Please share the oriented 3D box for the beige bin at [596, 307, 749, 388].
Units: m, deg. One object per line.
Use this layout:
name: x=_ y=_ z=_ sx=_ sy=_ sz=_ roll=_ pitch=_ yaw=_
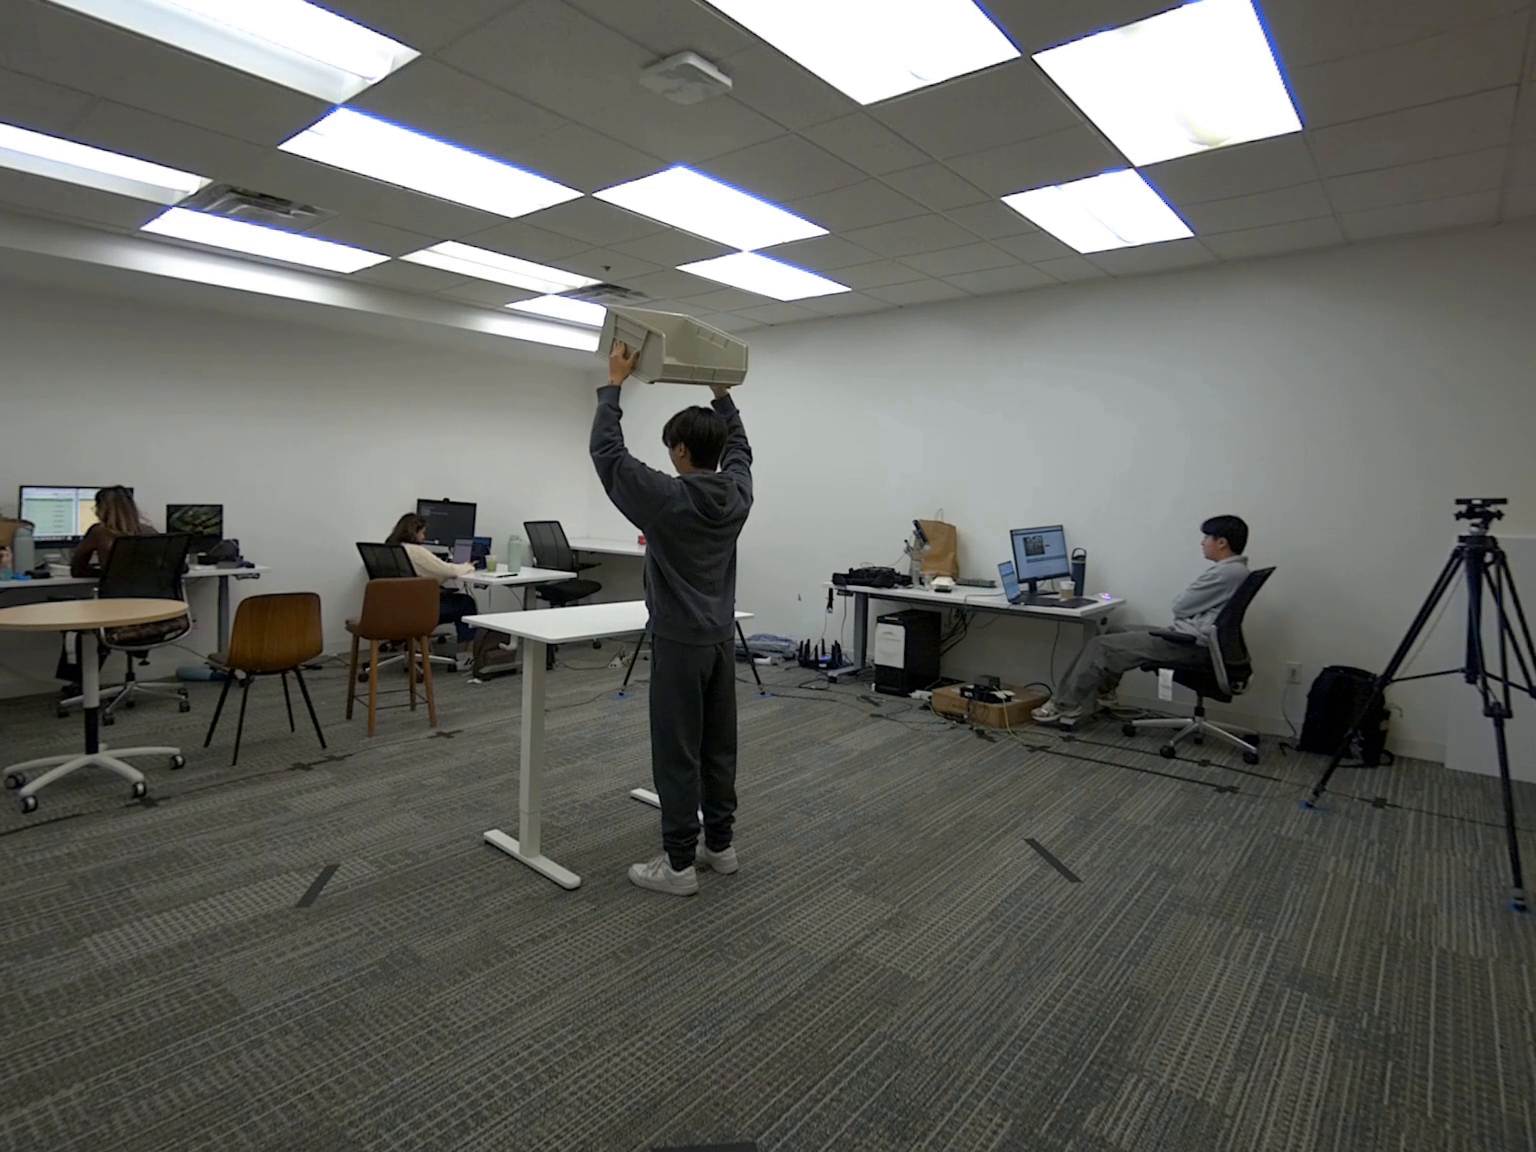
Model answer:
beige bin: x=-0.347 y=-0.807 z=3.034 sx=0.393 sy=0.186 sz=0.411 roll=33 pitch=28 yaw=34
